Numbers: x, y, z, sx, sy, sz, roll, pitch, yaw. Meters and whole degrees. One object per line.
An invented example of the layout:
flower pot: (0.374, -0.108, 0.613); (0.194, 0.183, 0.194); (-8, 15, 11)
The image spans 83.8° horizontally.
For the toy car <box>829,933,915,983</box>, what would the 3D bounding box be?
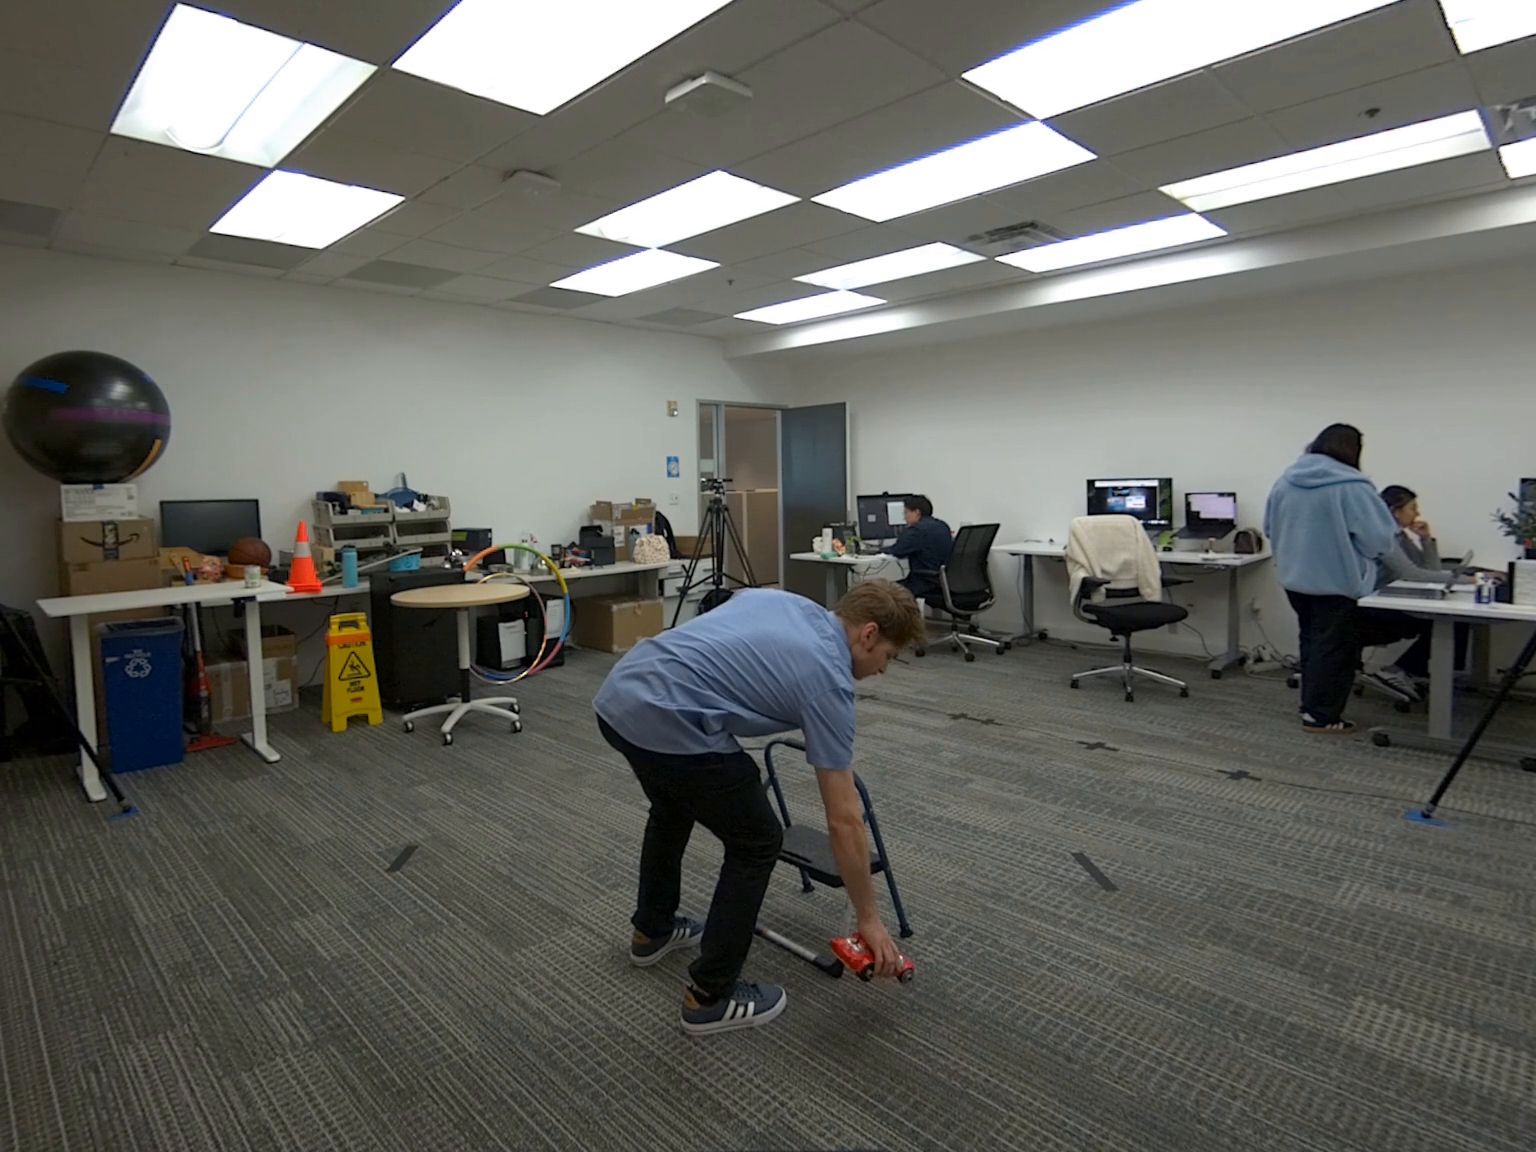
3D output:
toy car: (0.262, 0.963, 2.189); (0.246, 0.083, 0.135); (35, -5, -32)
